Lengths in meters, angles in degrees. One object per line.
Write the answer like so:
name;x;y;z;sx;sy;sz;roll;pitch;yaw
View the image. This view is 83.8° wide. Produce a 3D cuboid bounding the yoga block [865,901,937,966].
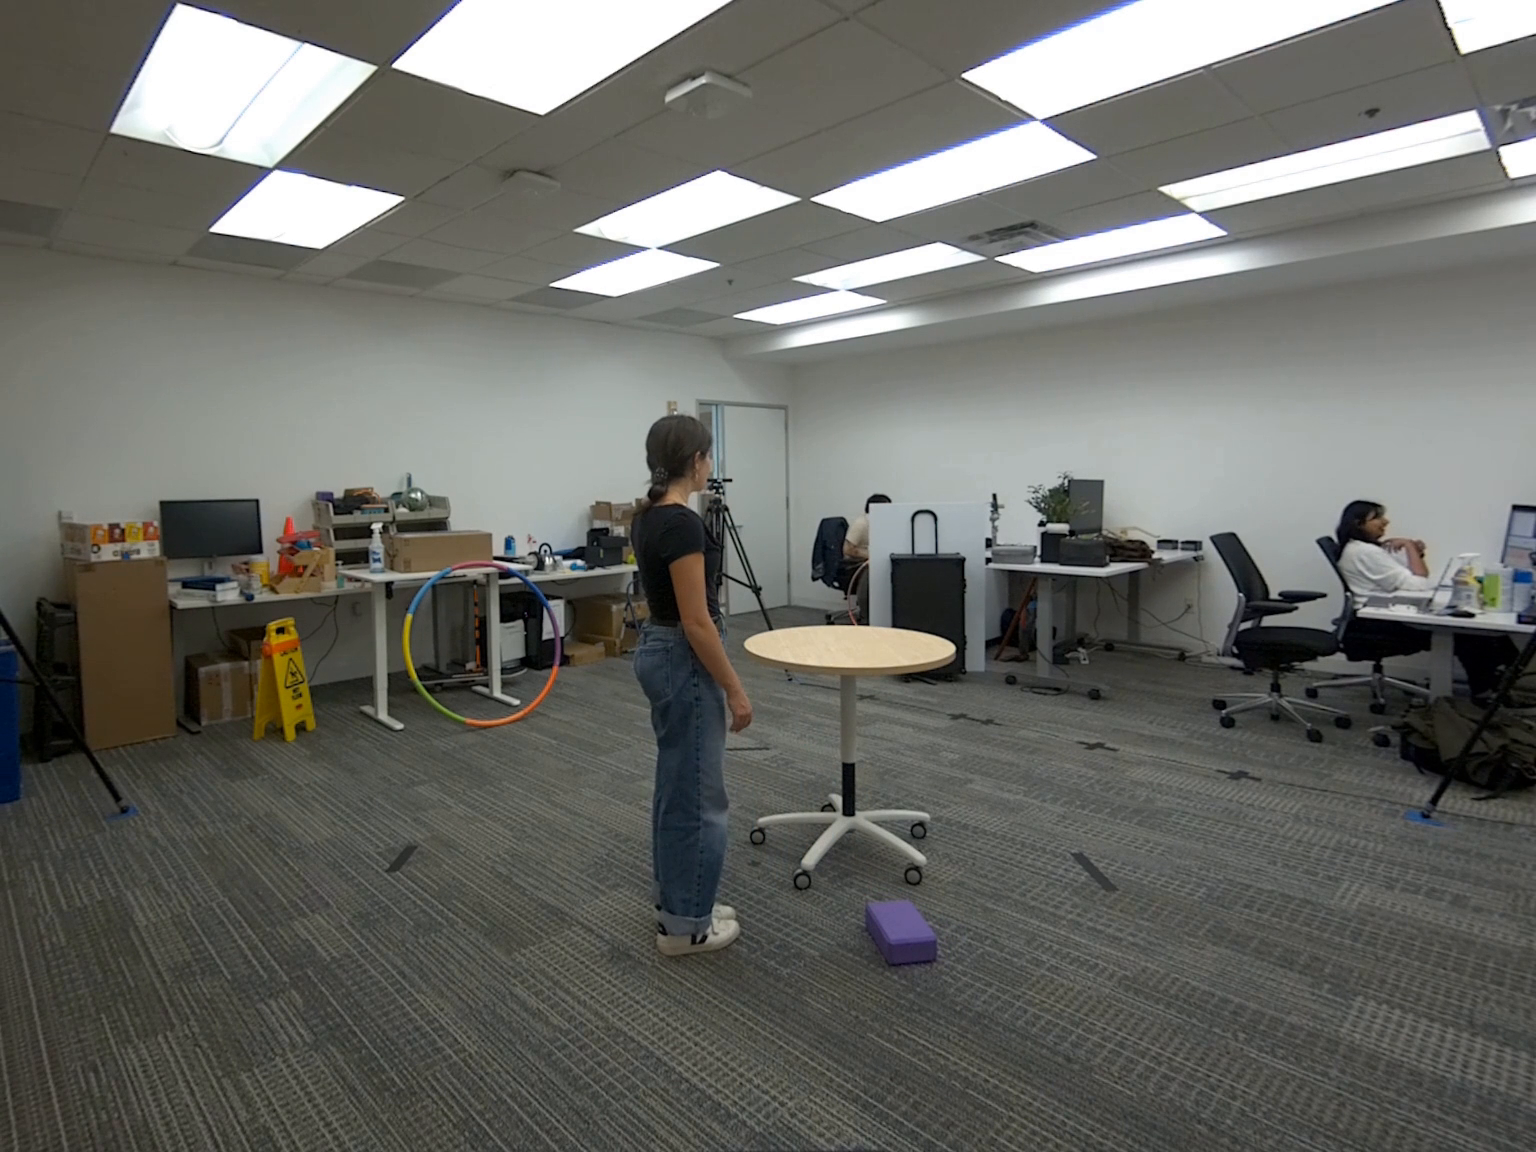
yoga block;0.394;1.056;2.547;0.148;0.076;0.232;-2;4;-10
